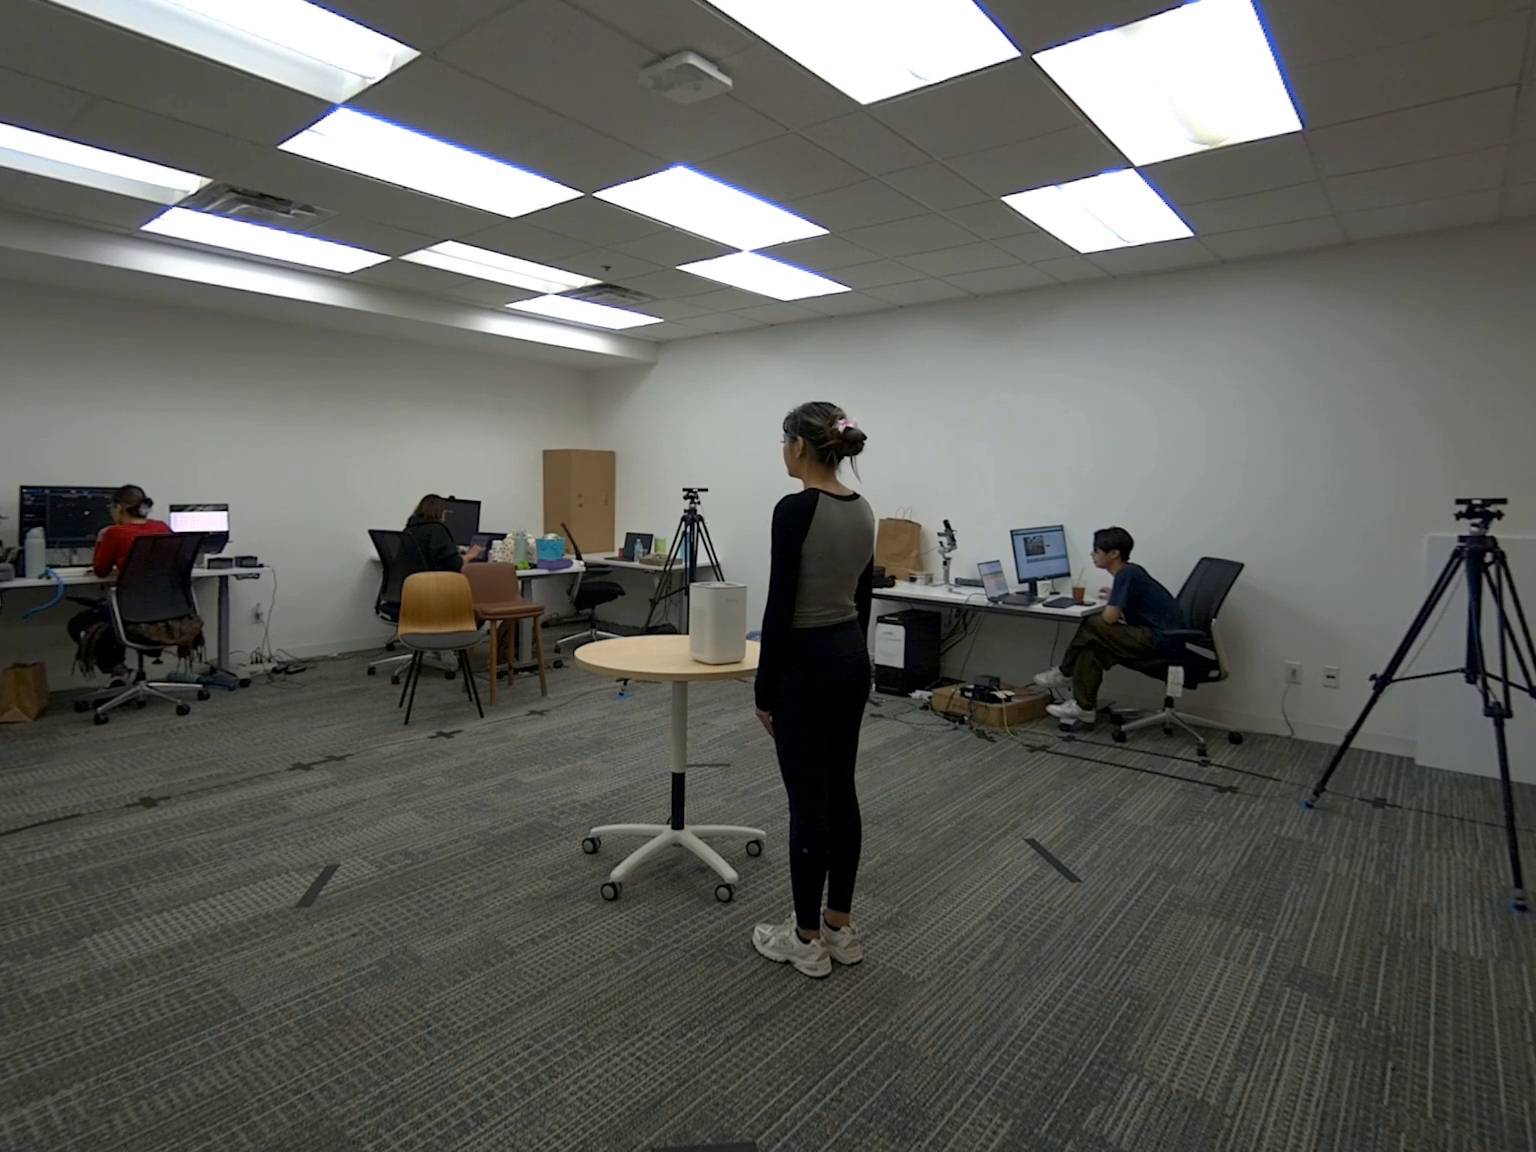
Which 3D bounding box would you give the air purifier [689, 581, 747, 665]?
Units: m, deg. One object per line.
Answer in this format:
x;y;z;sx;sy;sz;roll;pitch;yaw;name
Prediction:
-0.183;0.154;2.942;0.166;0.265;0.176;0;3;-36;air purifier
